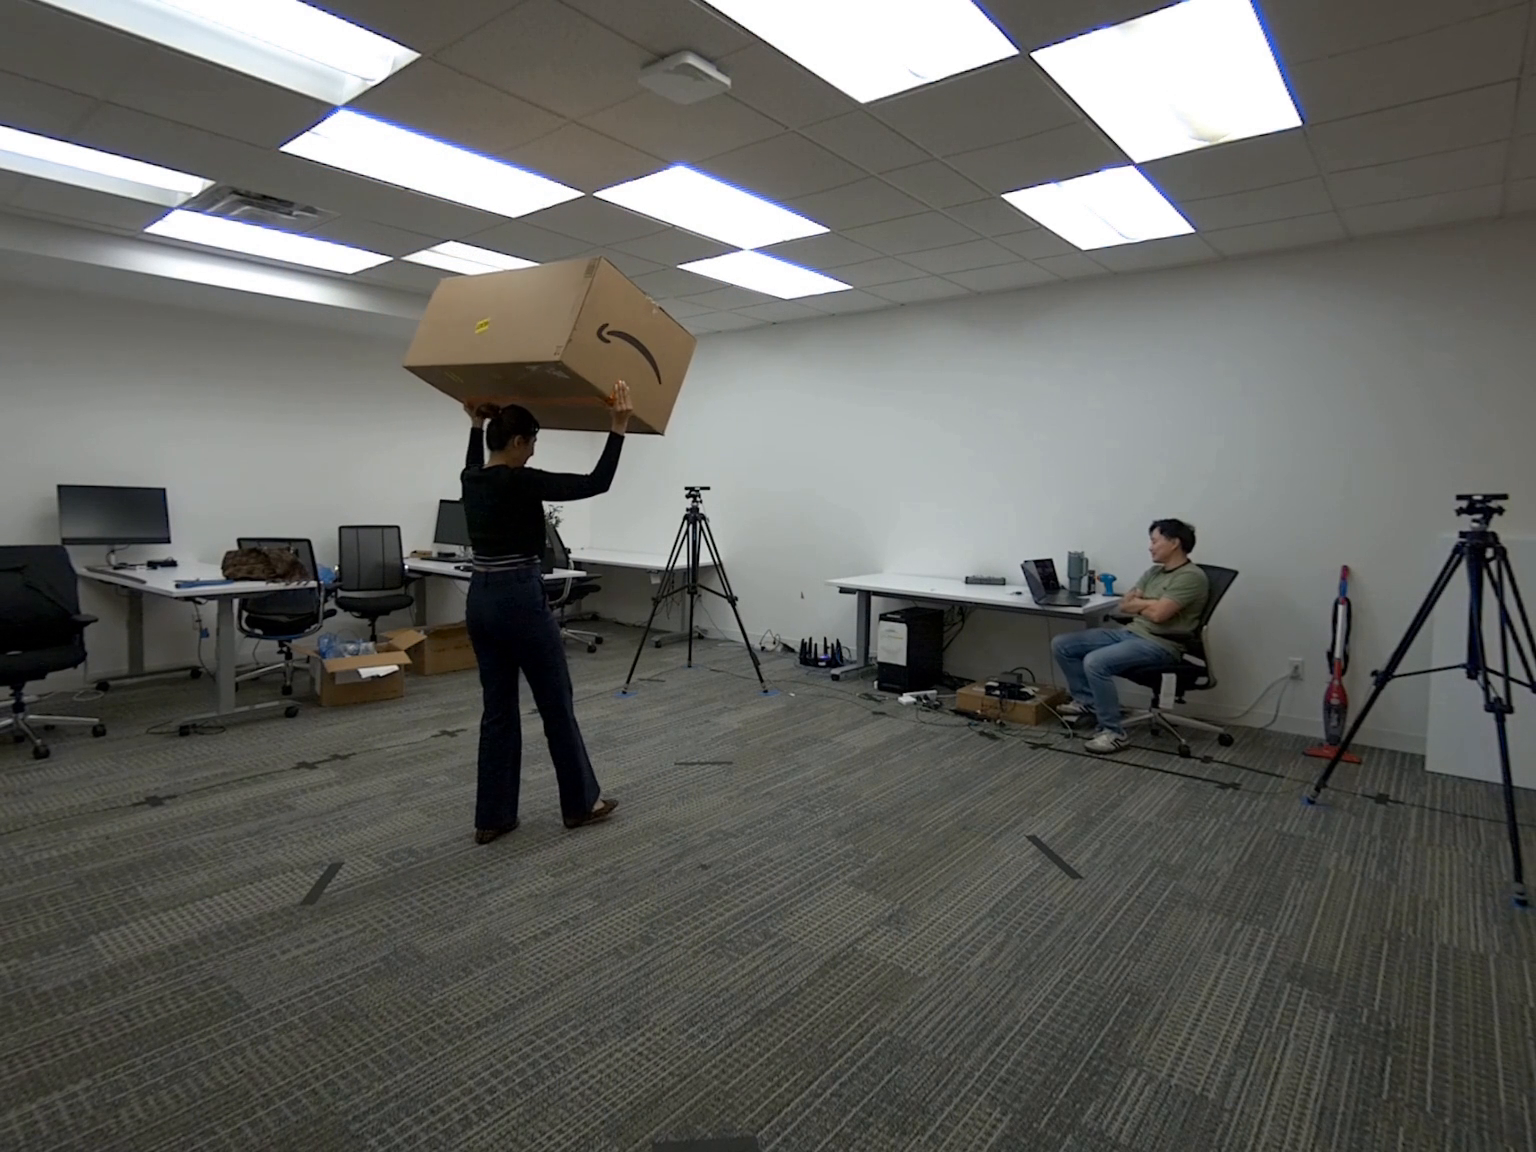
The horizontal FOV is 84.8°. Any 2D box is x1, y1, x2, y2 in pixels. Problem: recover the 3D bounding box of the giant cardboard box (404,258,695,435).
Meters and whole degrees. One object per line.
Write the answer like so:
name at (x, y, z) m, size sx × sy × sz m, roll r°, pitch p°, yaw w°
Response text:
giant cardboard box at (-0.907, -0.898, 3.446) m, size 1.062 × 0.429 × 0.554 m, roll 9°, pitch -14°, yaw 38°
